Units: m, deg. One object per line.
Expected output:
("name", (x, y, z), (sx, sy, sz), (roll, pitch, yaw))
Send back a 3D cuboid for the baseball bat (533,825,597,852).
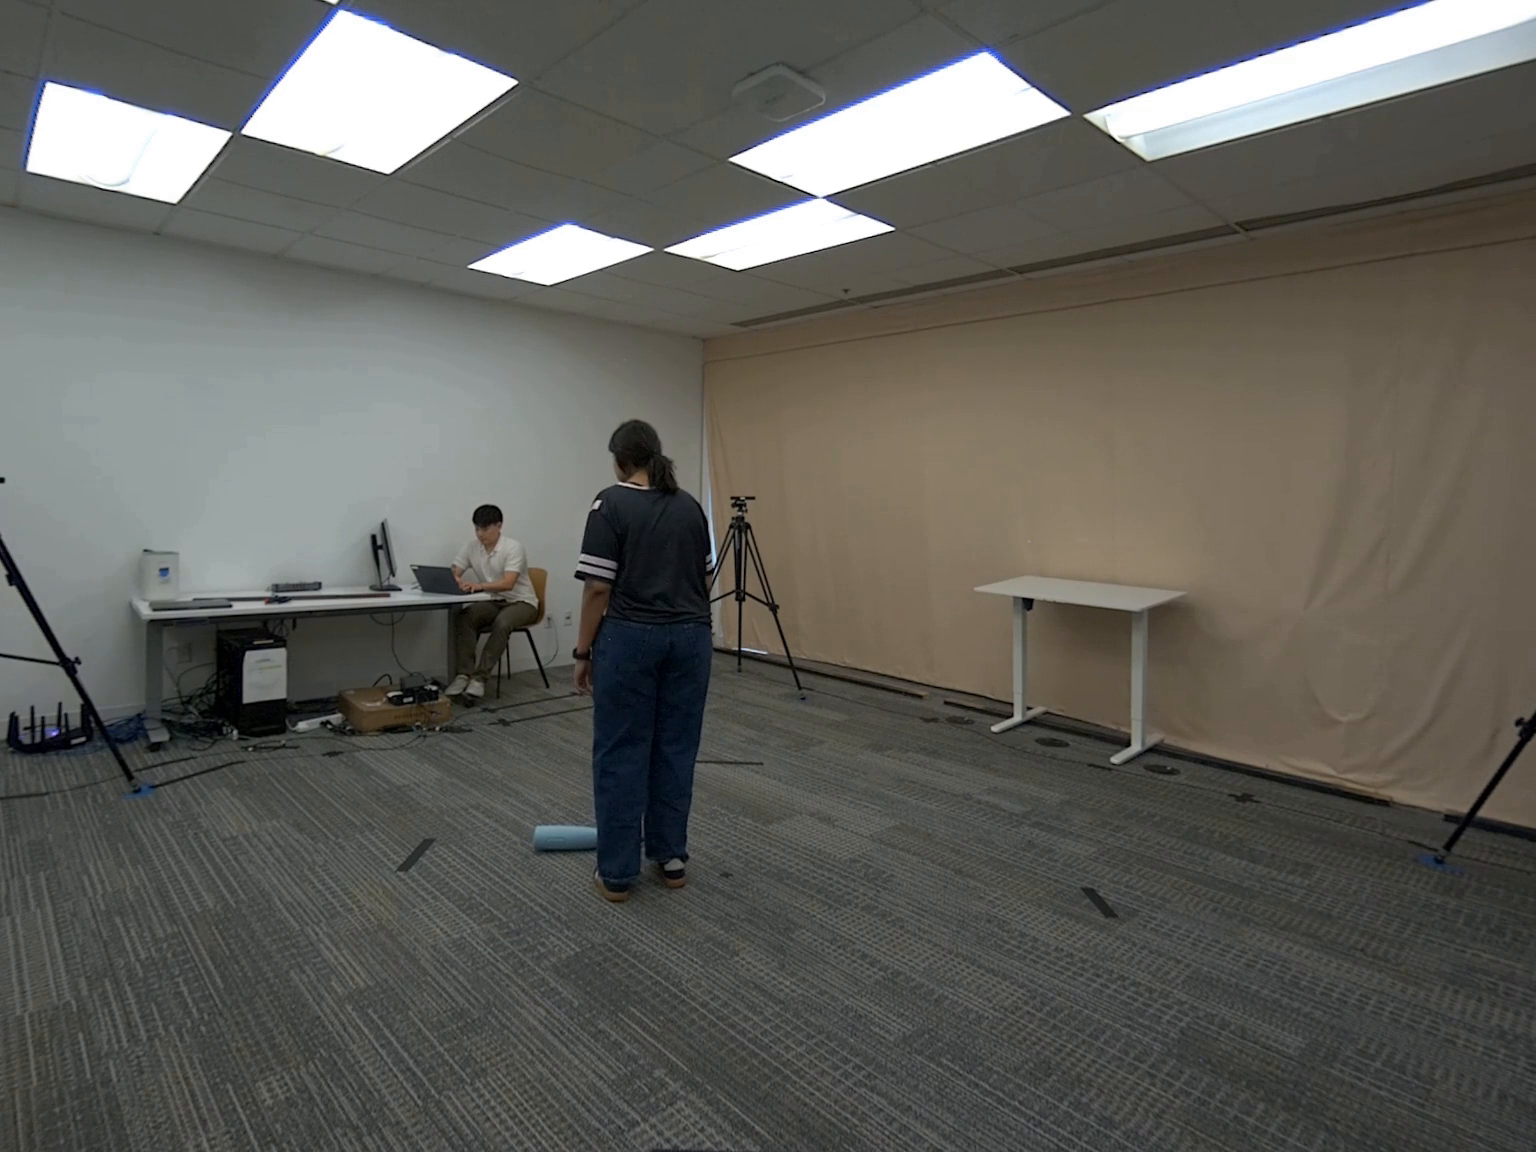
("baseball bat", (-0.659, 1.036, 3.320), (0.538, 0.089, 0.090), (3, 4, -9))
